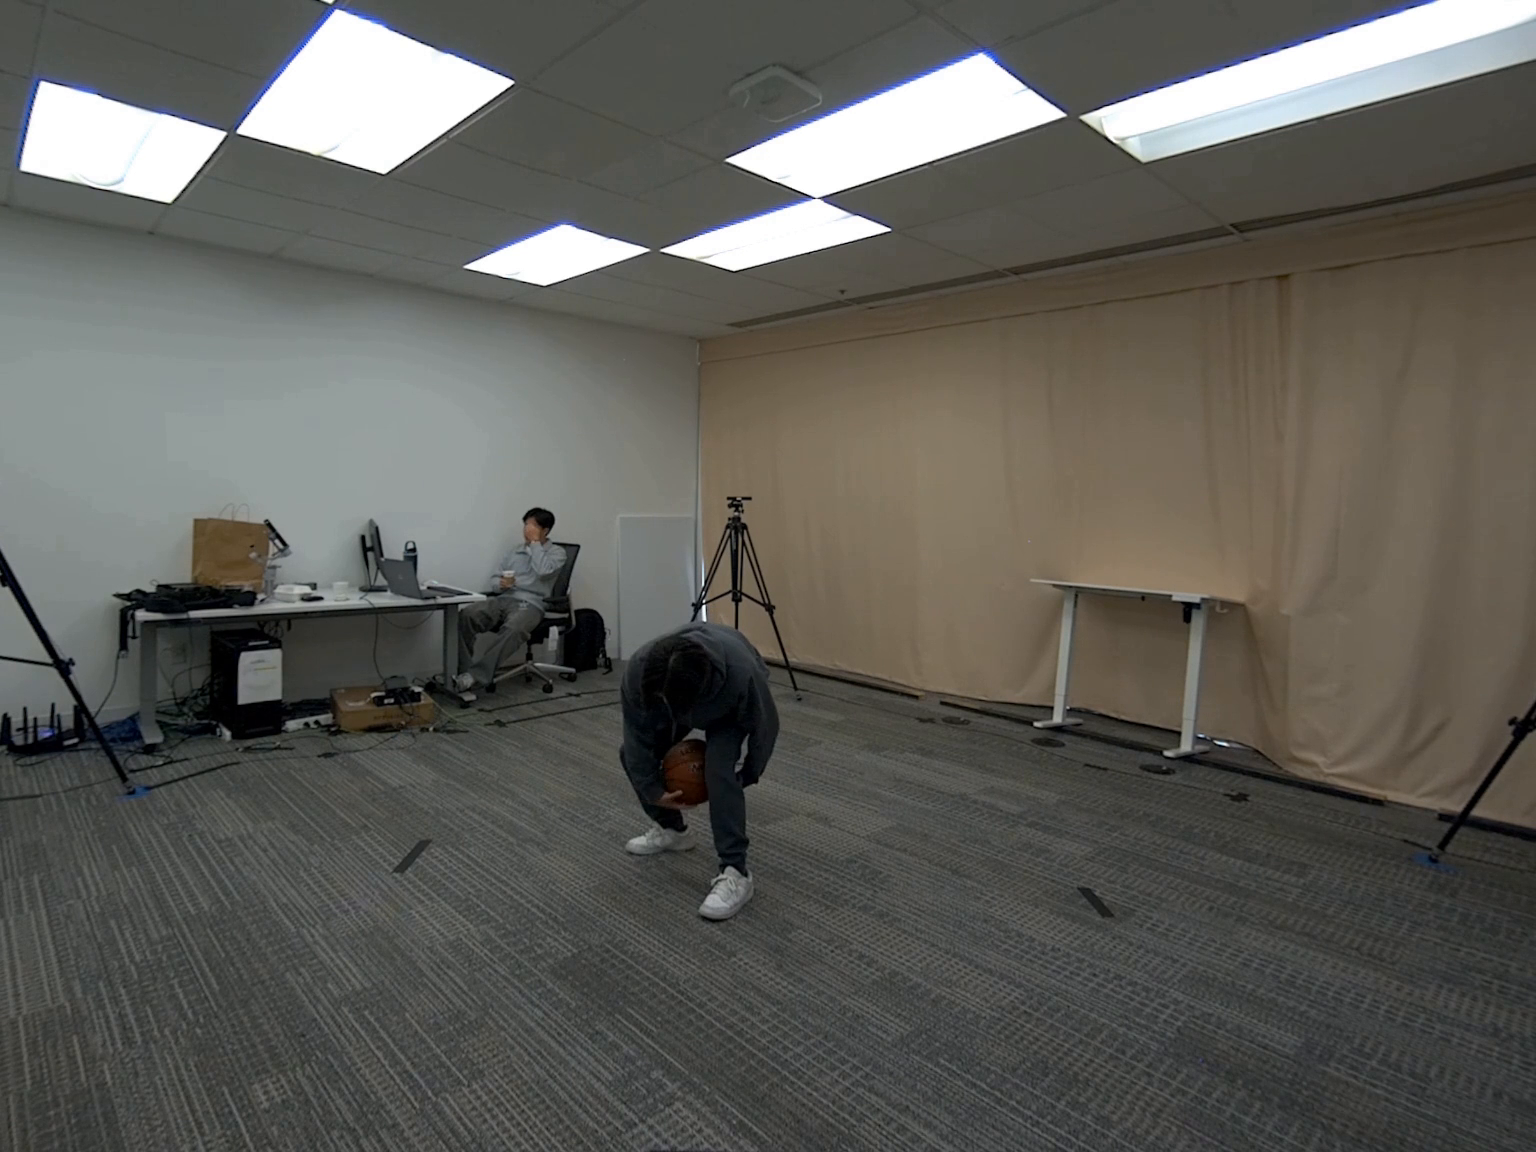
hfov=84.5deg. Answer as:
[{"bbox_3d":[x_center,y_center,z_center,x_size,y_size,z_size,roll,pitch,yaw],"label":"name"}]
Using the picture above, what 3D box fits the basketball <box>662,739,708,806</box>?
[{"bbox_3d":[-0.290,0.719,3.133,0.236,0.235,0.237,1,4,-1],"label":"basketball"}]
